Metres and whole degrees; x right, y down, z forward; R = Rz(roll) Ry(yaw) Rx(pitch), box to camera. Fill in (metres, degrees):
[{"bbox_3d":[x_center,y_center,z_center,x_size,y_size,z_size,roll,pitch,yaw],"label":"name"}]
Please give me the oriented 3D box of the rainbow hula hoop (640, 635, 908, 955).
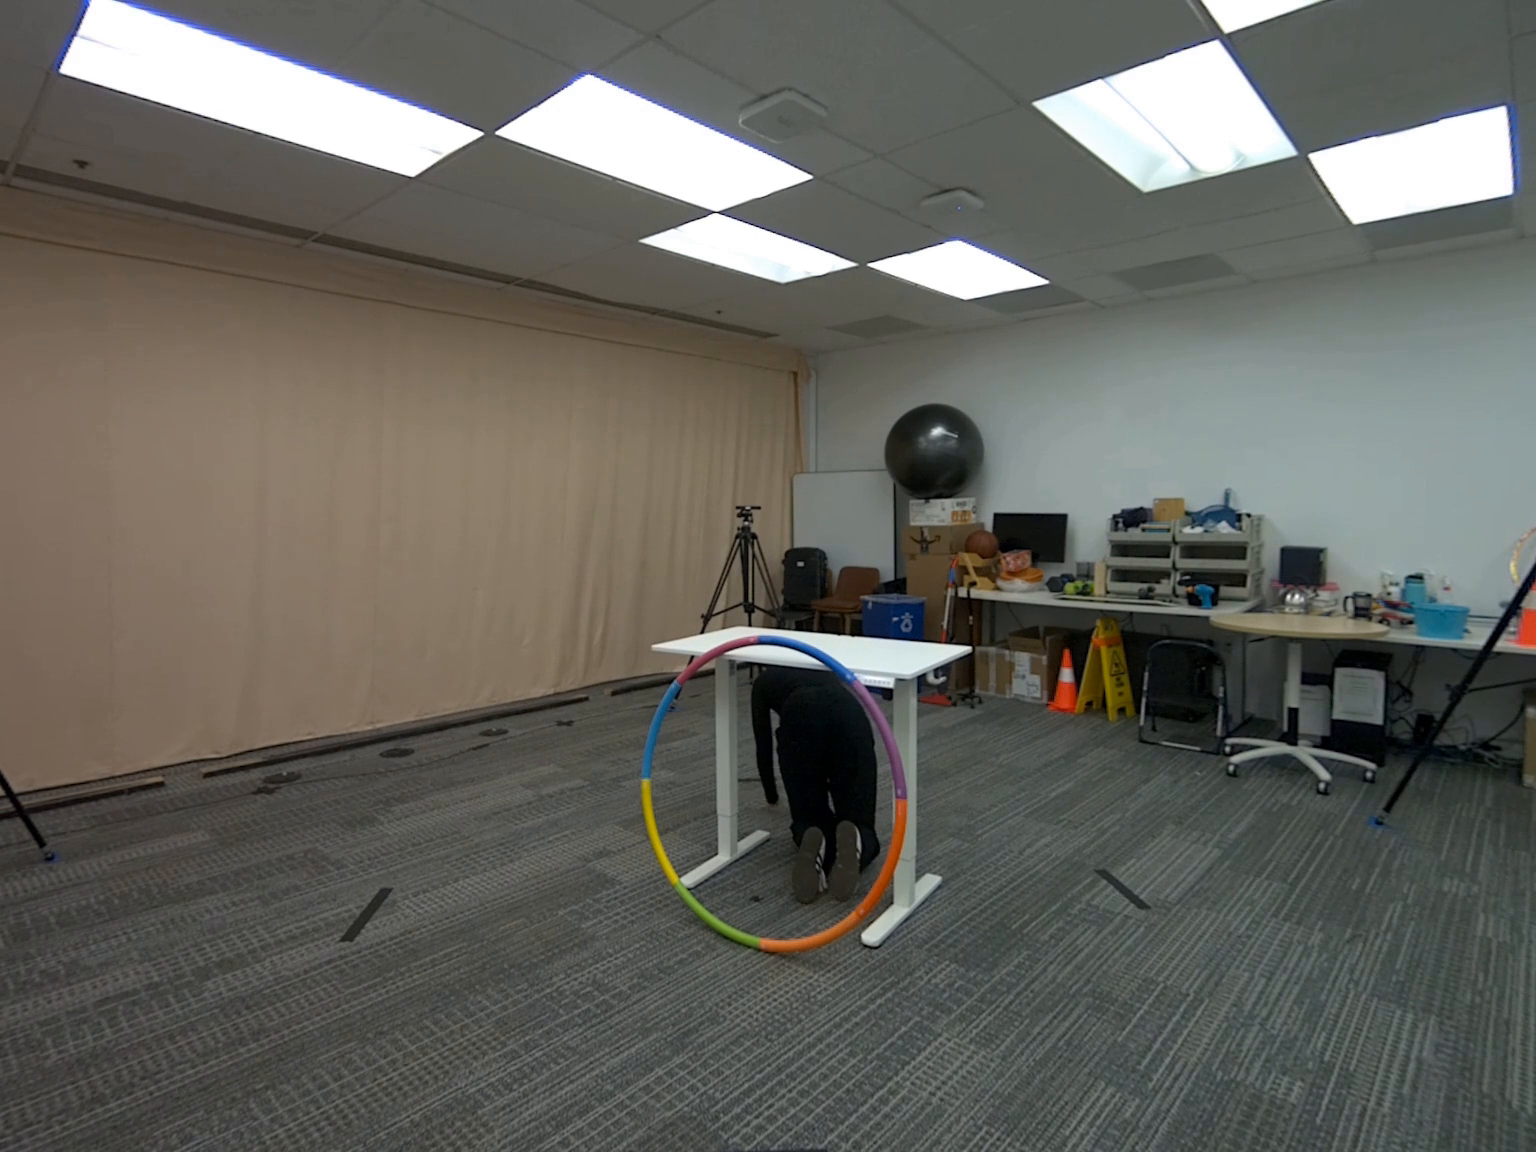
[{"bbox_3d":[-0.021,0.684,2.728,1.009,0.982,0.034,2,-8,34],"label":"rainbow hula hoop"}]
